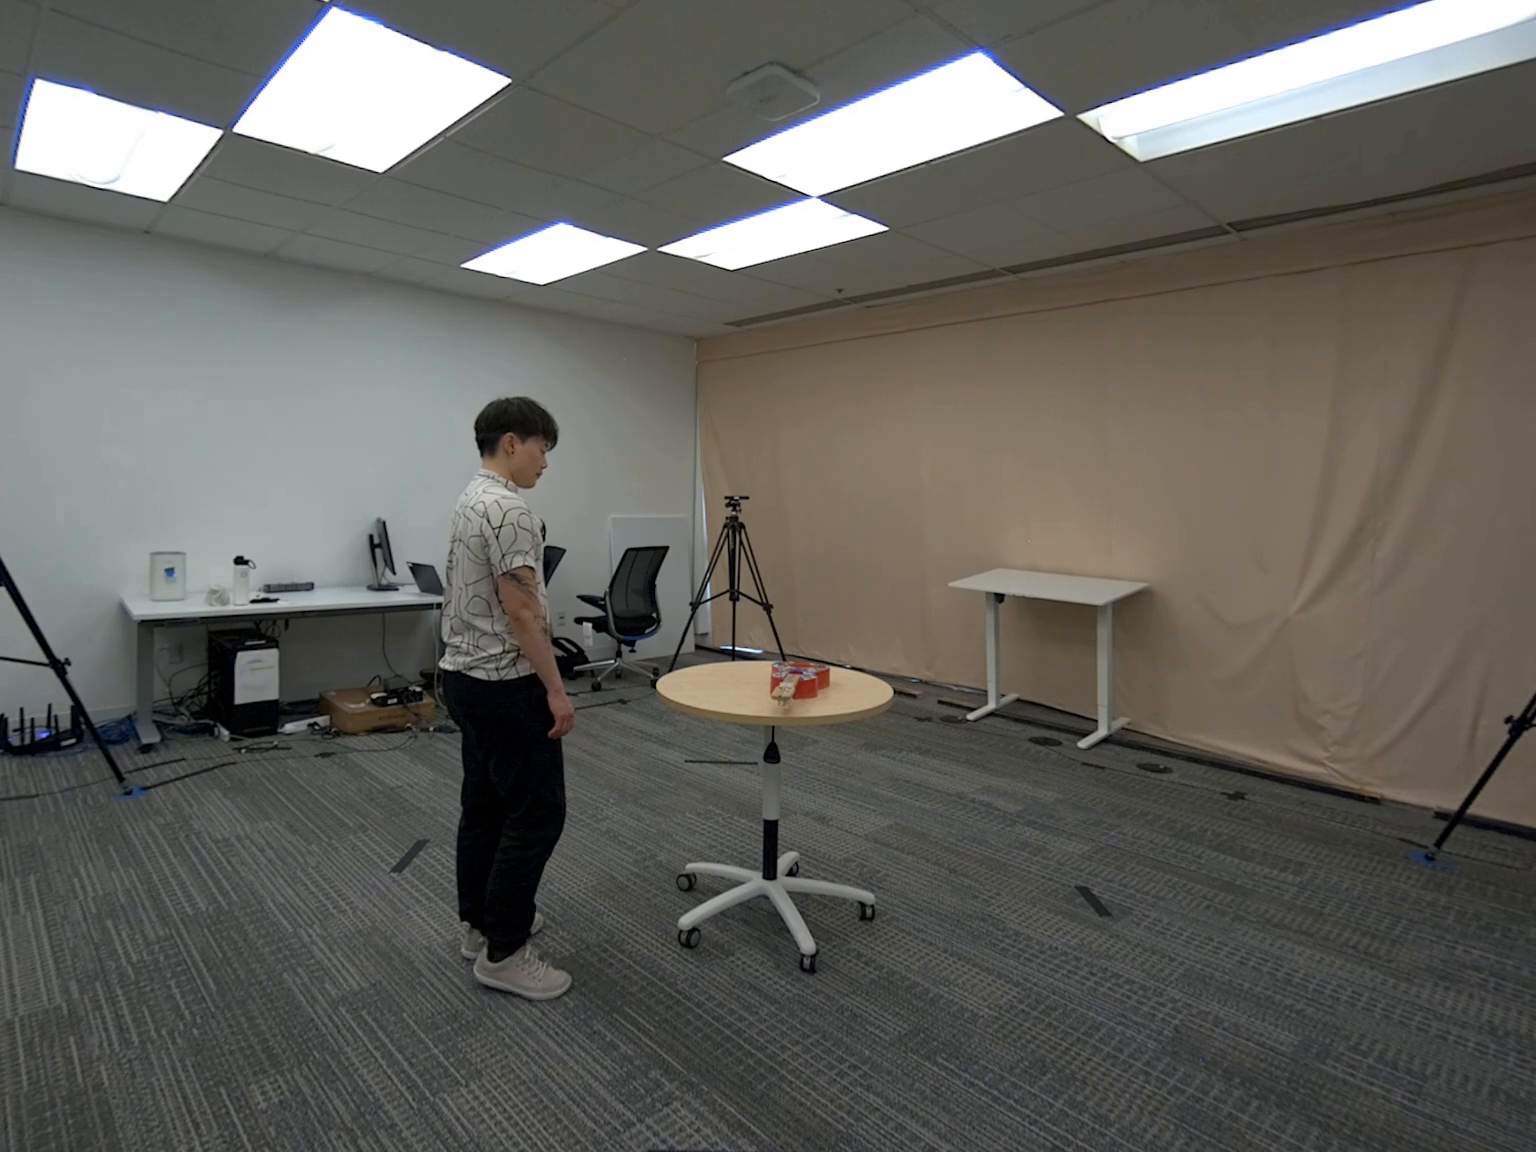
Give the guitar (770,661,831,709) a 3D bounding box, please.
[{"bbox_3d":[0.045,0.341,2.585,0.196,0.070,0.491,4,6,19],"label":"guitar"}]
